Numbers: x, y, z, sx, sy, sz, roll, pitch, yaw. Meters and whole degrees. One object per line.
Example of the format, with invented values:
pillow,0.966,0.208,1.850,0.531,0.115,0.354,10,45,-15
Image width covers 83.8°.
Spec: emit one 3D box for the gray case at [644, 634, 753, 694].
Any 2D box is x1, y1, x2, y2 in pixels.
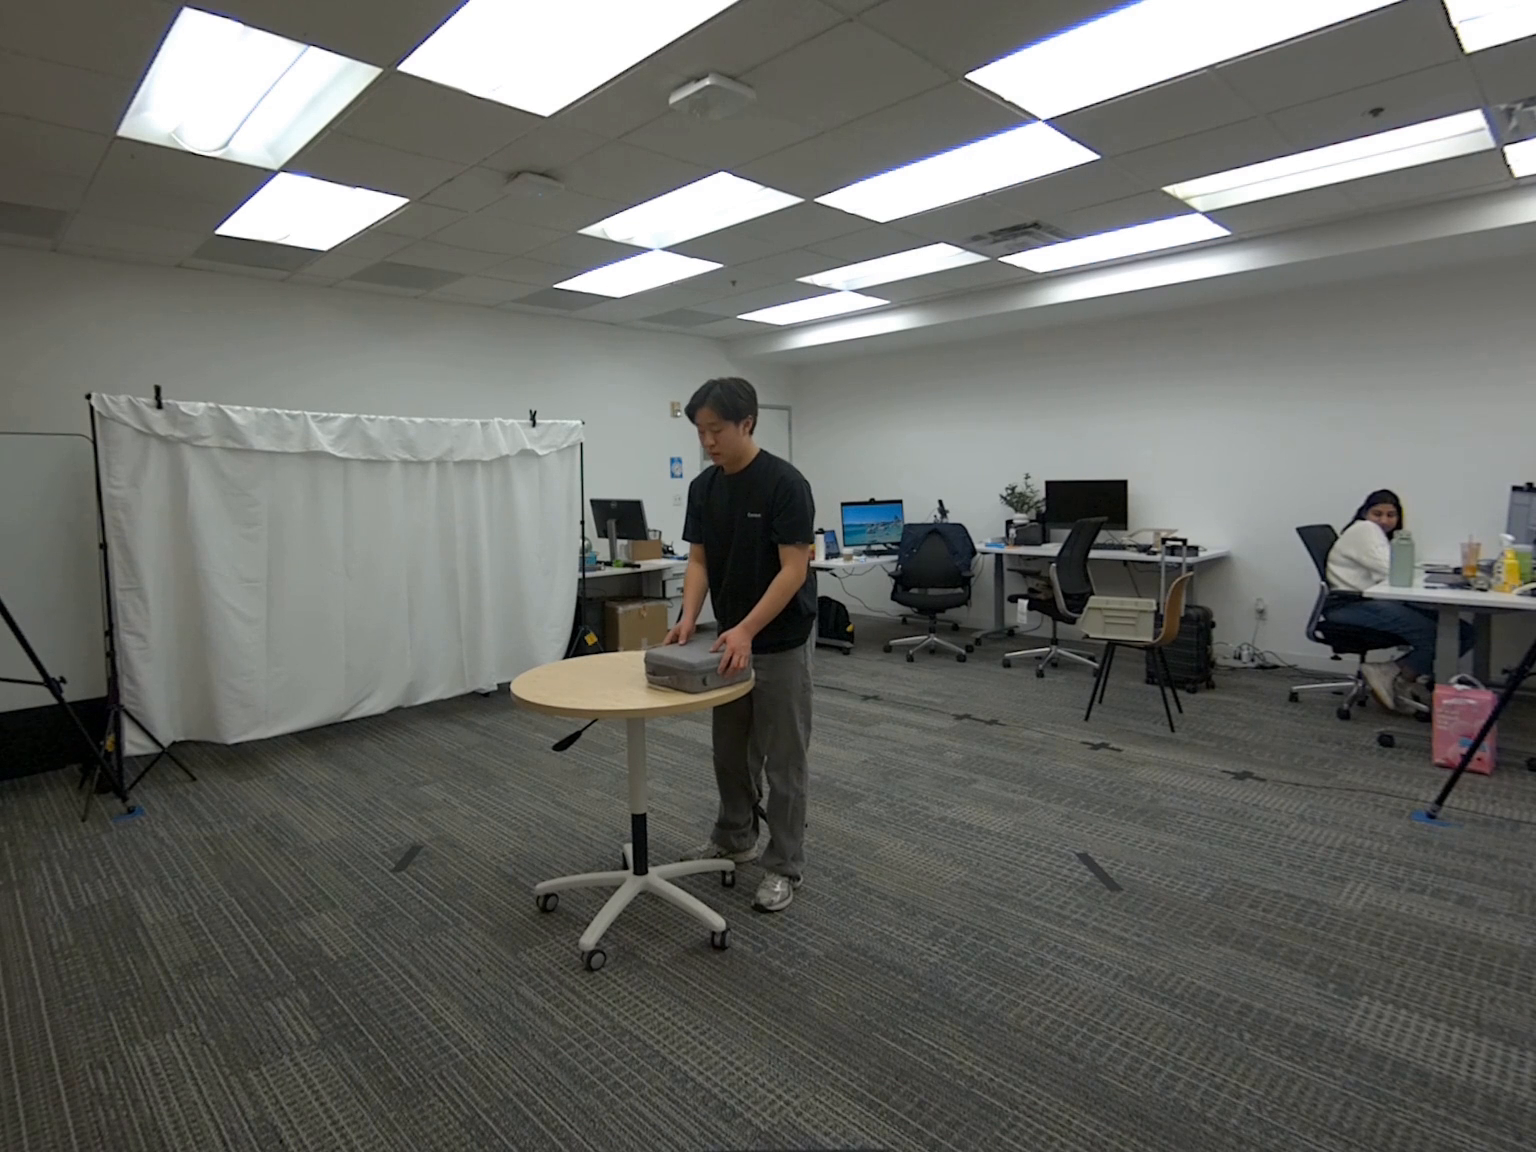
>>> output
gray case,-0.226,0.278,2.604,0.280,0.102,0.271,-10,10,-41
